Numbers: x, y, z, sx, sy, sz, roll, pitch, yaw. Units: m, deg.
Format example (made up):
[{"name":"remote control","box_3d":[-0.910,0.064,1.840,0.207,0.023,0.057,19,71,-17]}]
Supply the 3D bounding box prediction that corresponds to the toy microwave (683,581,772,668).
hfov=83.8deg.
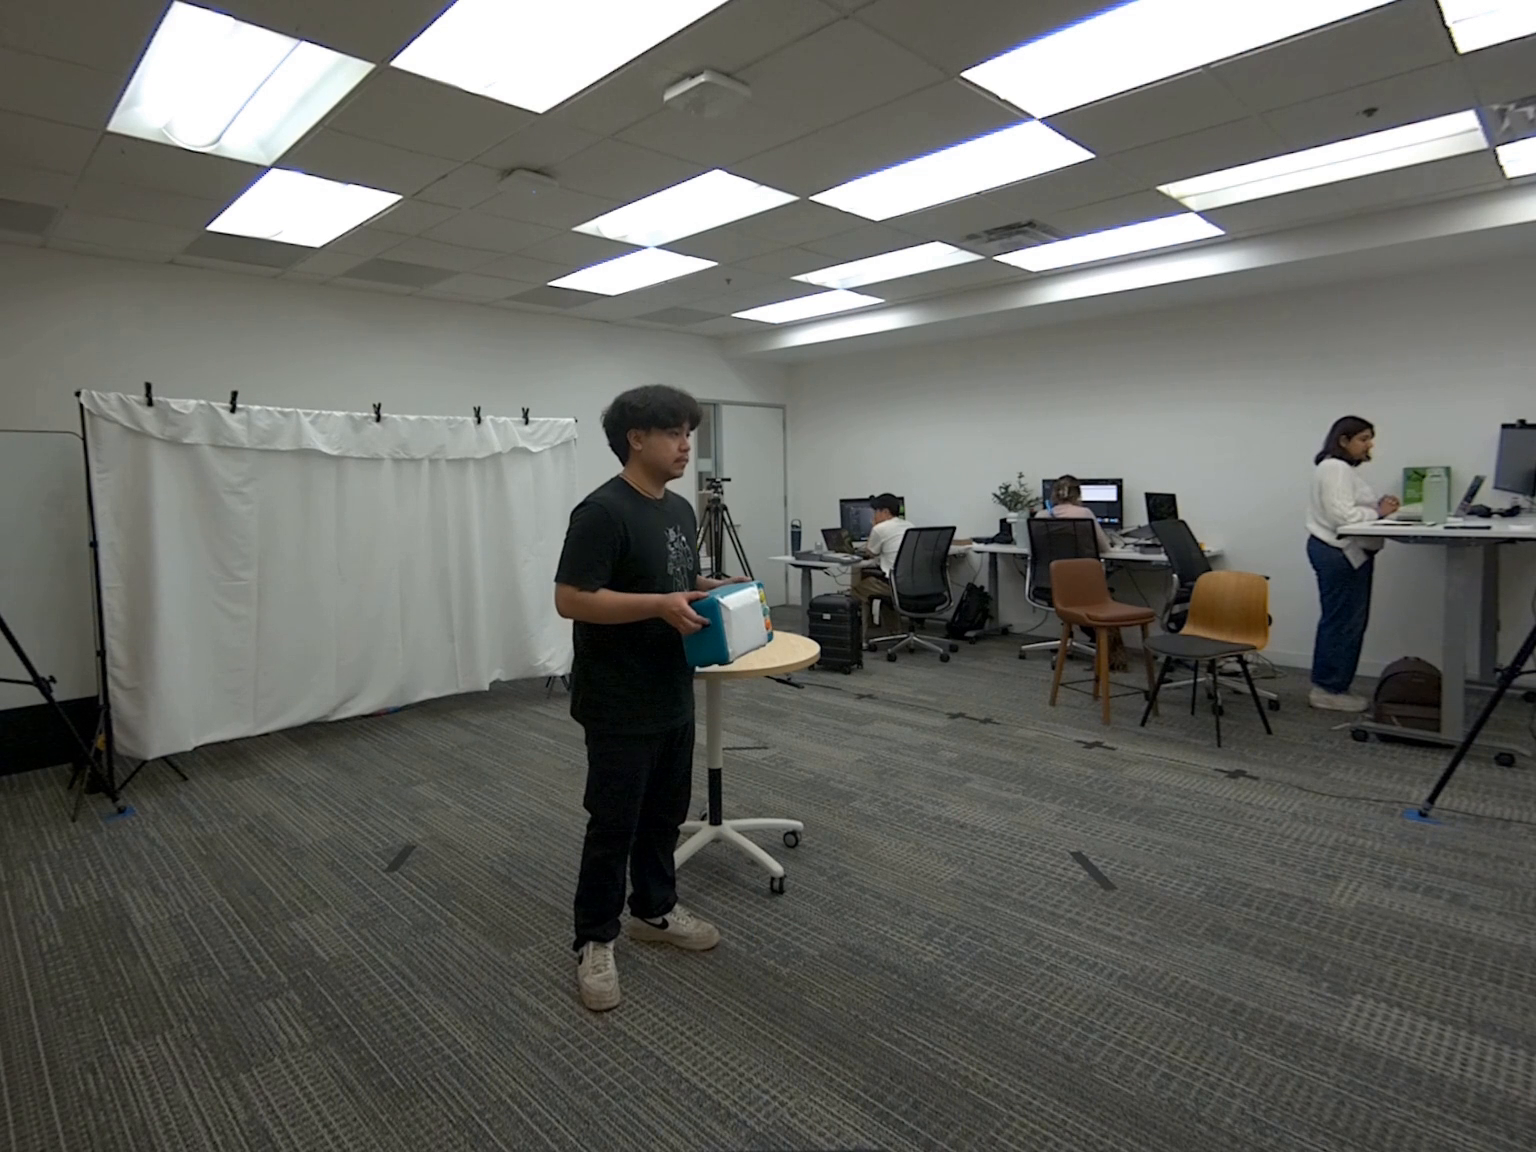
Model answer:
[{"name":"toy microwave","box_3d":[-0.107,0.130,2.299,0.155,0.184,0.281,-9,4,30]}]
